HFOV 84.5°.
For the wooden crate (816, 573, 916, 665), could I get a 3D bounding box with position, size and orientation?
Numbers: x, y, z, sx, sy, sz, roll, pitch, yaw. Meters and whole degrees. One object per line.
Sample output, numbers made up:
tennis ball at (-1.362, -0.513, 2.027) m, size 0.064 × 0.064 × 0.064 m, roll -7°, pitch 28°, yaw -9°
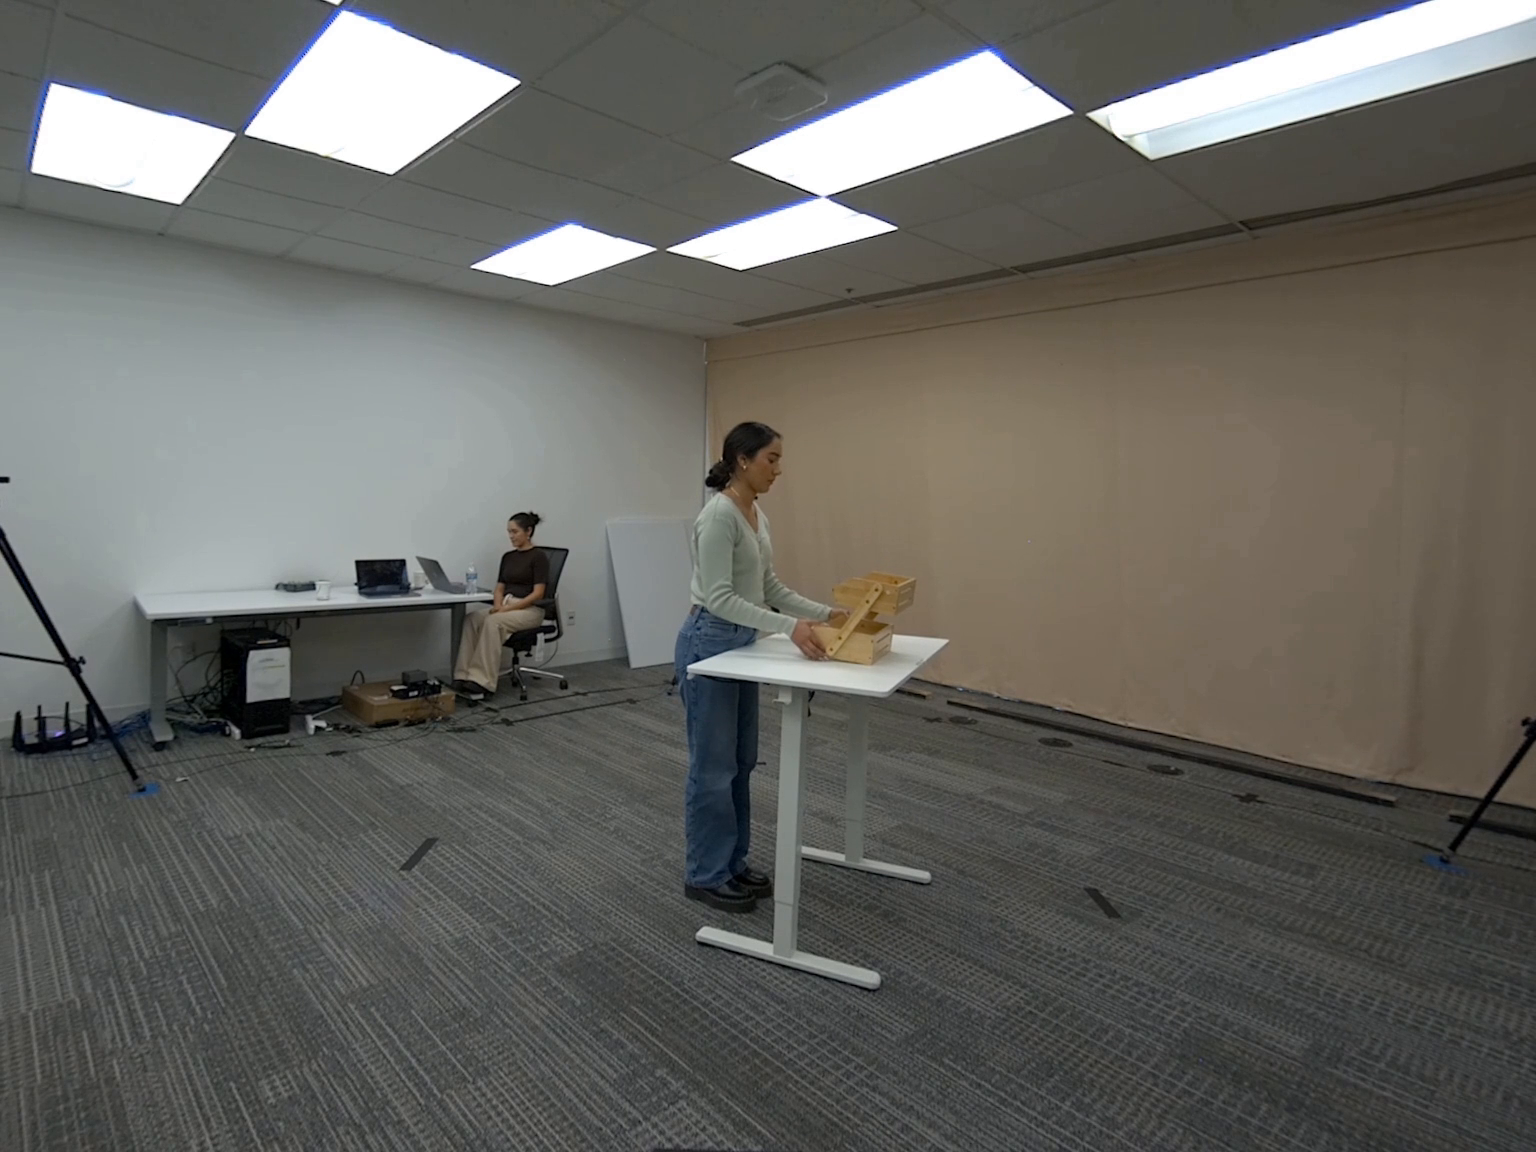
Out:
wooden crate at (0.286, 0.122, 2.754) m, size 0.307 × 0.272 × 0.320 m, roll 10°, pitch 7°, yaw 20°
